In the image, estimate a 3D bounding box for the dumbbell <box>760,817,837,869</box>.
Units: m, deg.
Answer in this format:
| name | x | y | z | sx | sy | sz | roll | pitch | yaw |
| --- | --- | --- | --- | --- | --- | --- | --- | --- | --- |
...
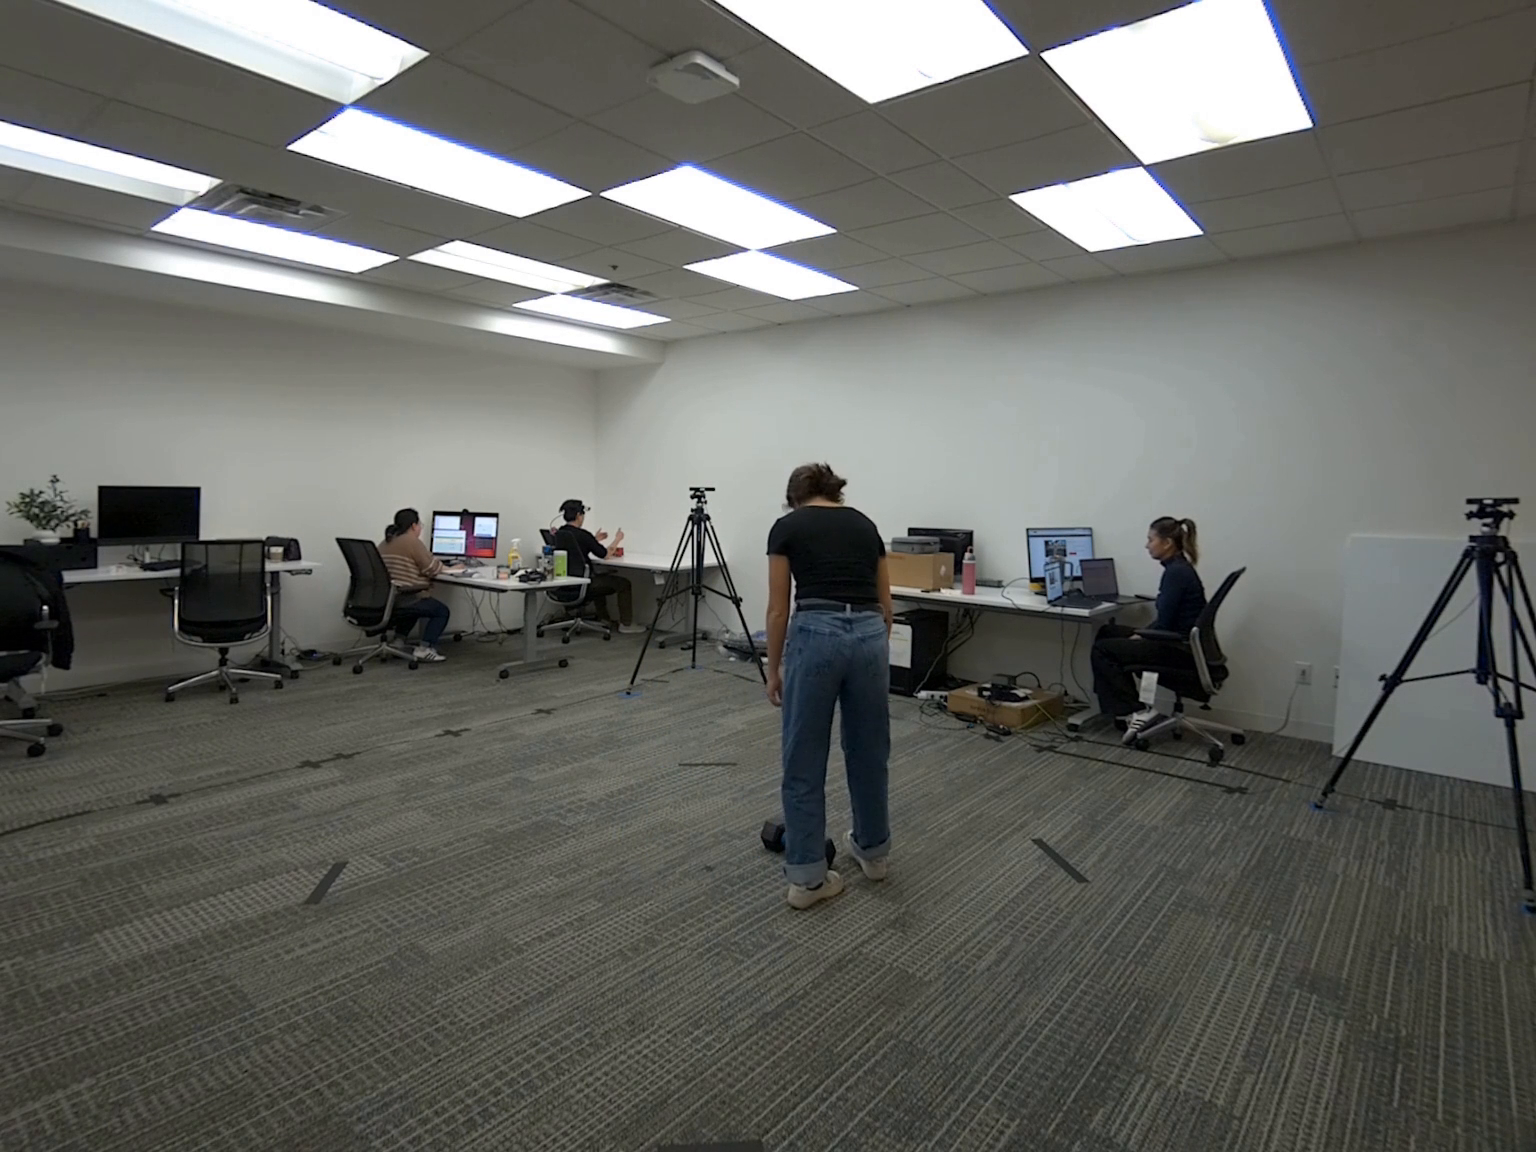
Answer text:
| name | x | y | z | sx | sy | sz | roll | pitch | yaw |
| --- | --- | --- | --- | --- | --- | --- | --- | --- | --- |
| dumbbell | 0.102 | 1.007 | 3.221 | 0.304 | 0.124 | 0.104 | 7 | -24 | 43 |
